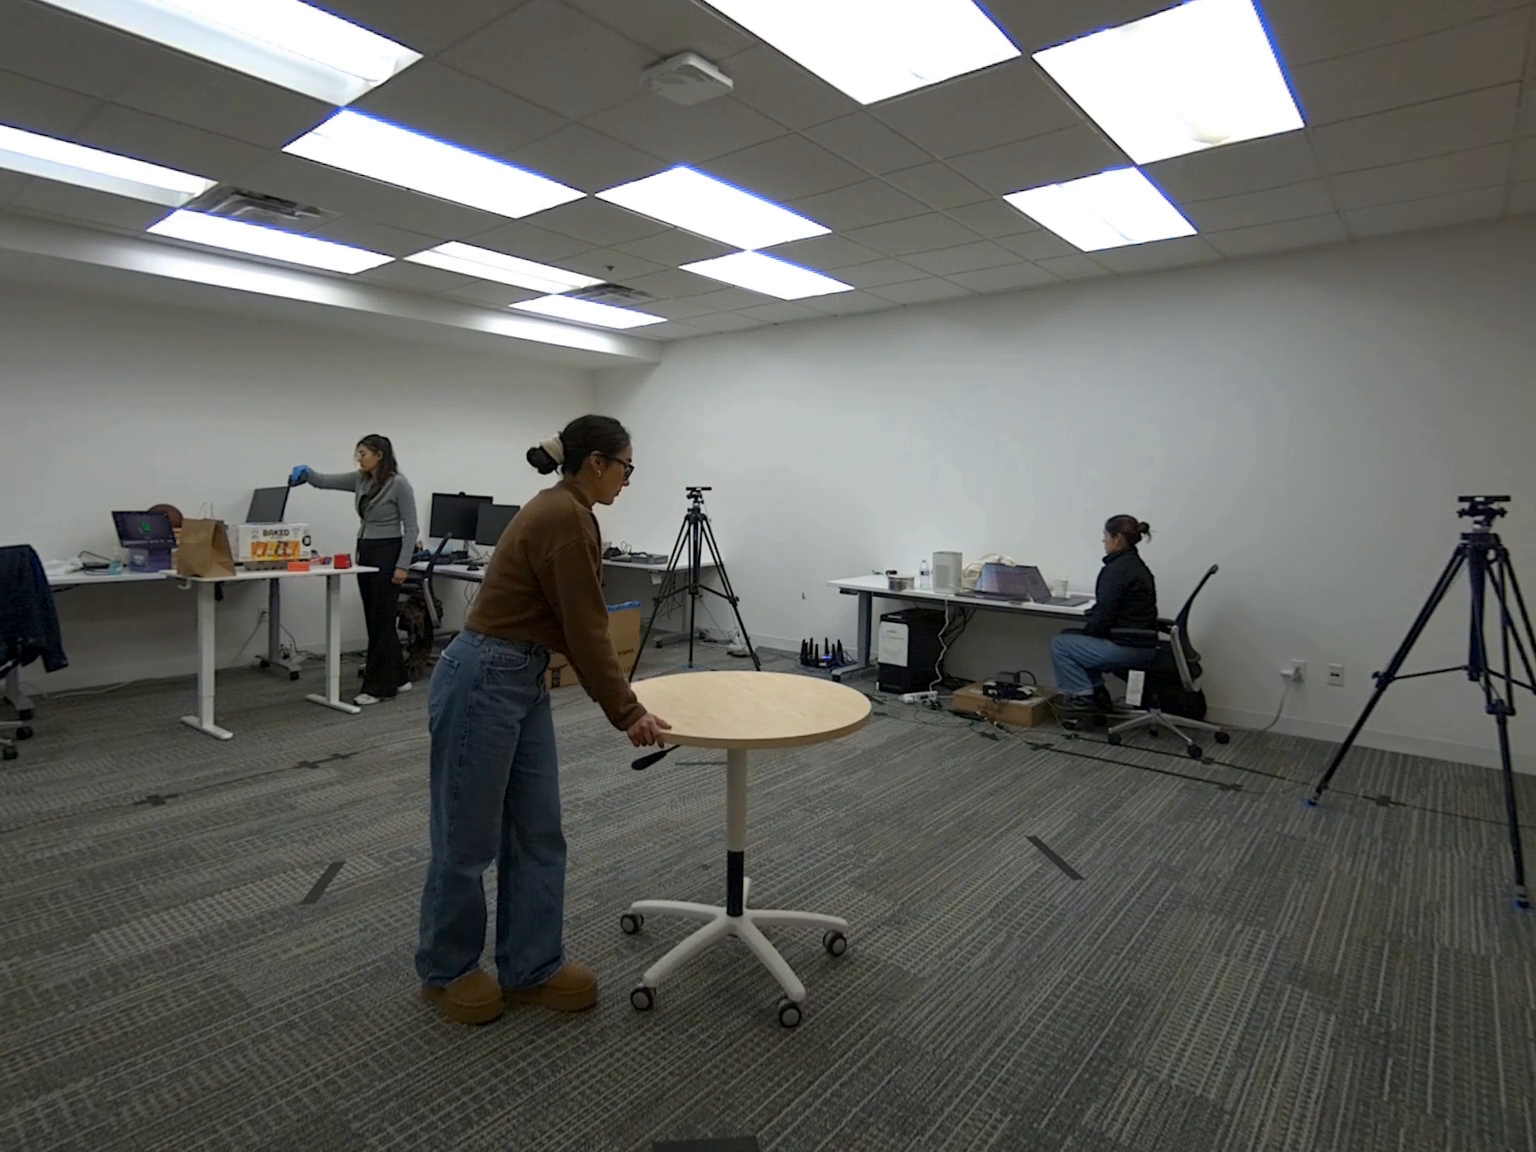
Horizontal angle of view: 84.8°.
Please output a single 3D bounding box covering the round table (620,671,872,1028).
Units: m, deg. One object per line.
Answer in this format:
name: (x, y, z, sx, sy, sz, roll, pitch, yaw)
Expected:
round table: (-0.109, 0.744, 2.488, 0.763, 0.791, 0.768, 1, 4, -2)
